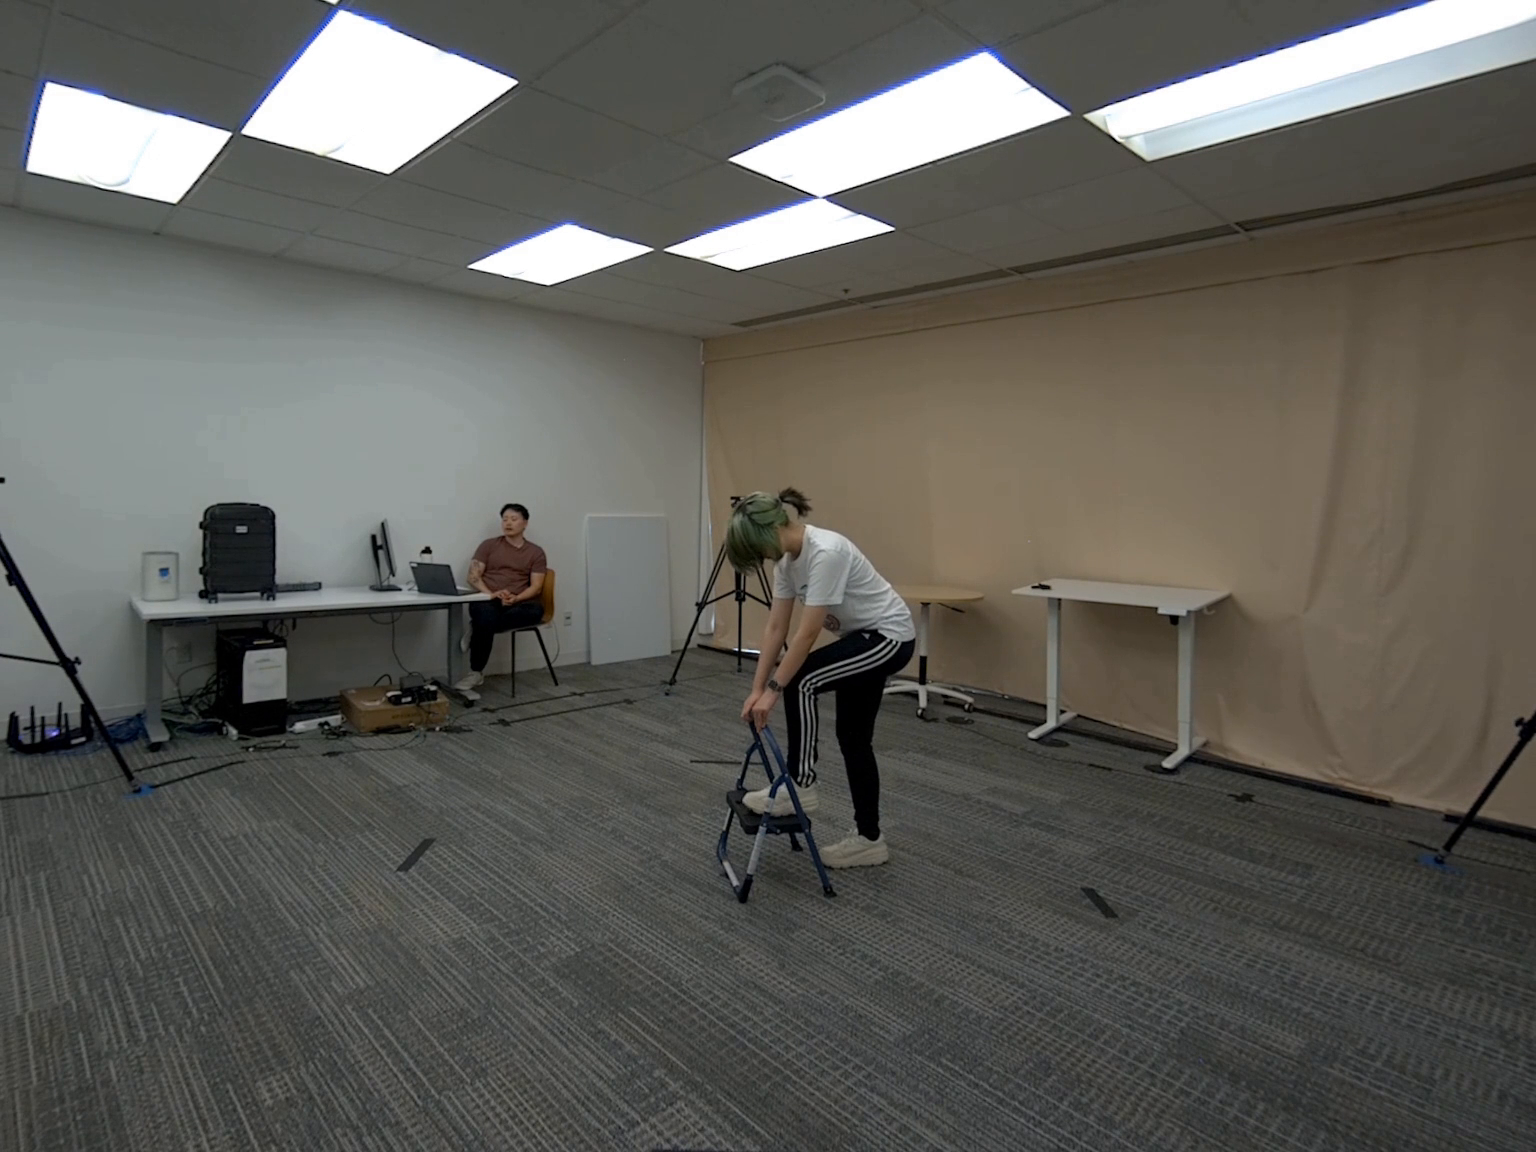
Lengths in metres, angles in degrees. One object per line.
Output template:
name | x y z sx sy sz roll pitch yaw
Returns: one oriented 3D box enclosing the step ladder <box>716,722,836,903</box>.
step ladder | 0.016 0.809 3.104 0.345 0.605 0.436 0 4 -15
